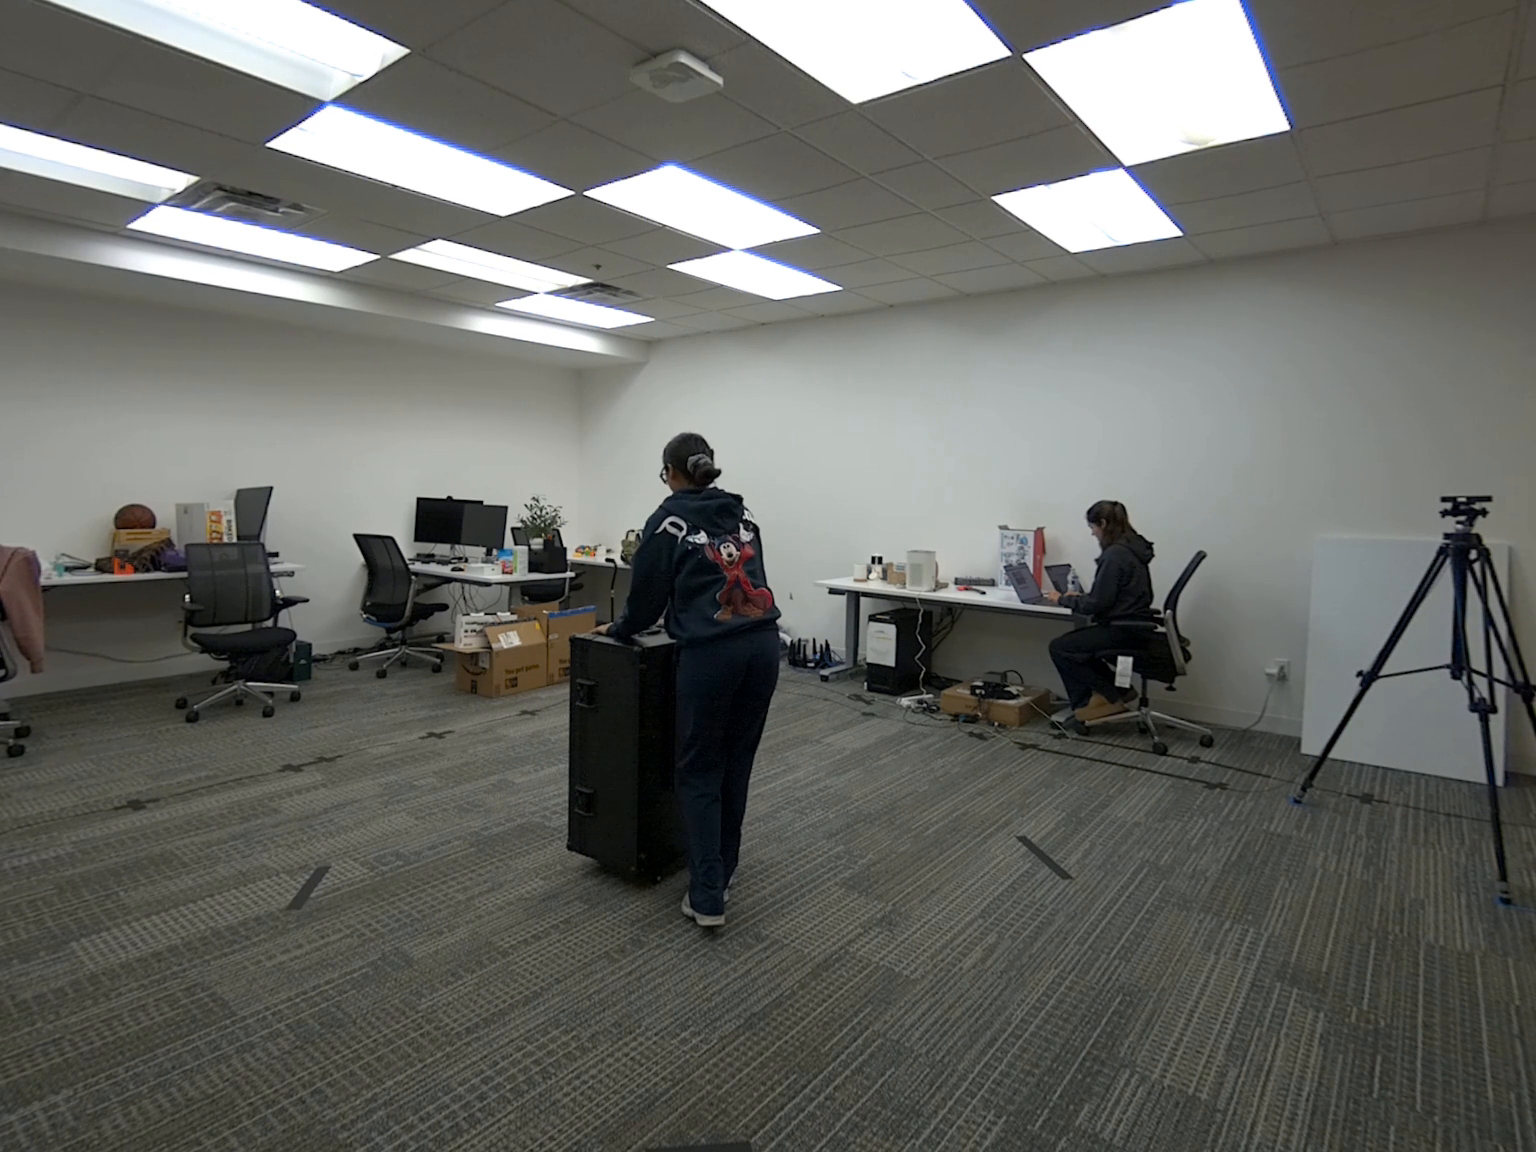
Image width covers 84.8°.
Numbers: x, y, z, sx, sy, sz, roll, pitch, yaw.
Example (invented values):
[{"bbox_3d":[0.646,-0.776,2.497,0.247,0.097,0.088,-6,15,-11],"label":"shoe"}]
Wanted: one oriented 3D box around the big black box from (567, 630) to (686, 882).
[{"bbox_3d":[-0.443,0.636,3.148,0.409,0.859,0.506,4,4,37],"label":"big black box"}]
